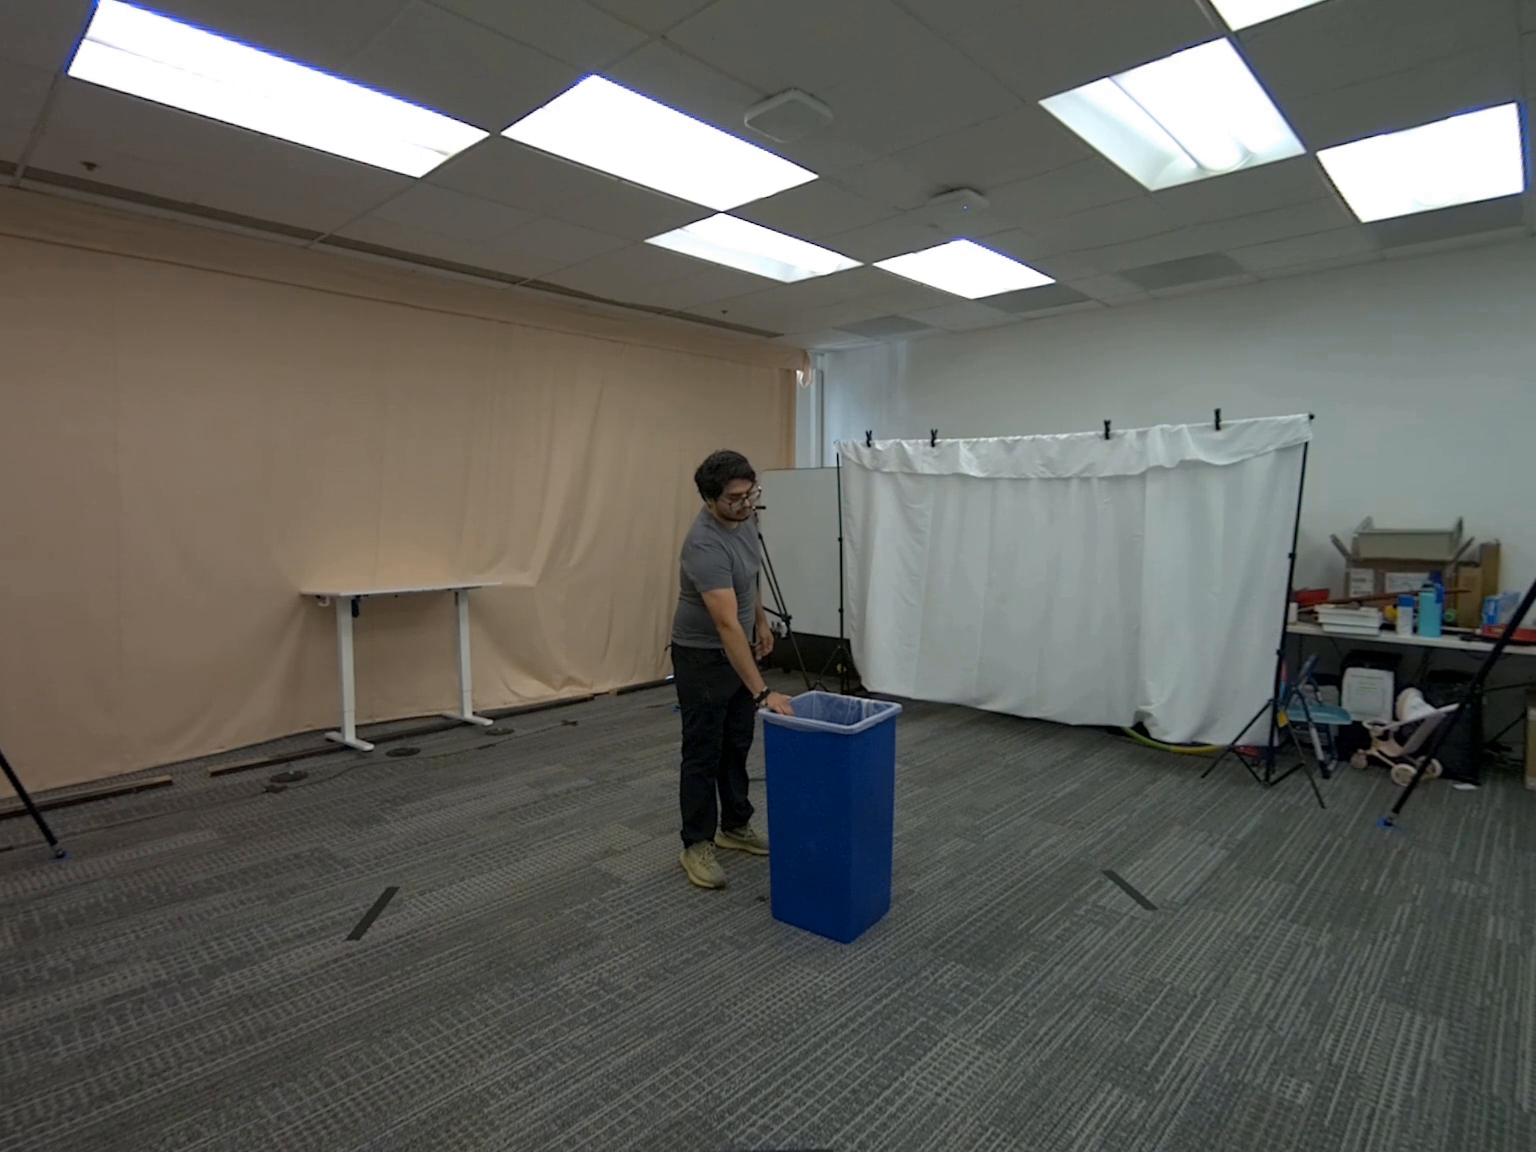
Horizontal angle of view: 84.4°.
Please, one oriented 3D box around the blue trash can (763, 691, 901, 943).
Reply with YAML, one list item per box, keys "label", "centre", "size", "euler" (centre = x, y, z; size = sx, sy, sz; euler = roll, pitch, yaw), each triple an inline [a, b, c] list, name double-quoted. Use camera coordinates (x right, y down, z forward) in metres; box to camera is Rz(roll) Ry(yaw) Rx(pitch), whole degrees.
- label: "blue trash can"
  centre: [0.216, 0.796, 2.844]
  size: [0.390, 0.712, 0.363]
  euler: [2, 4, 37]
